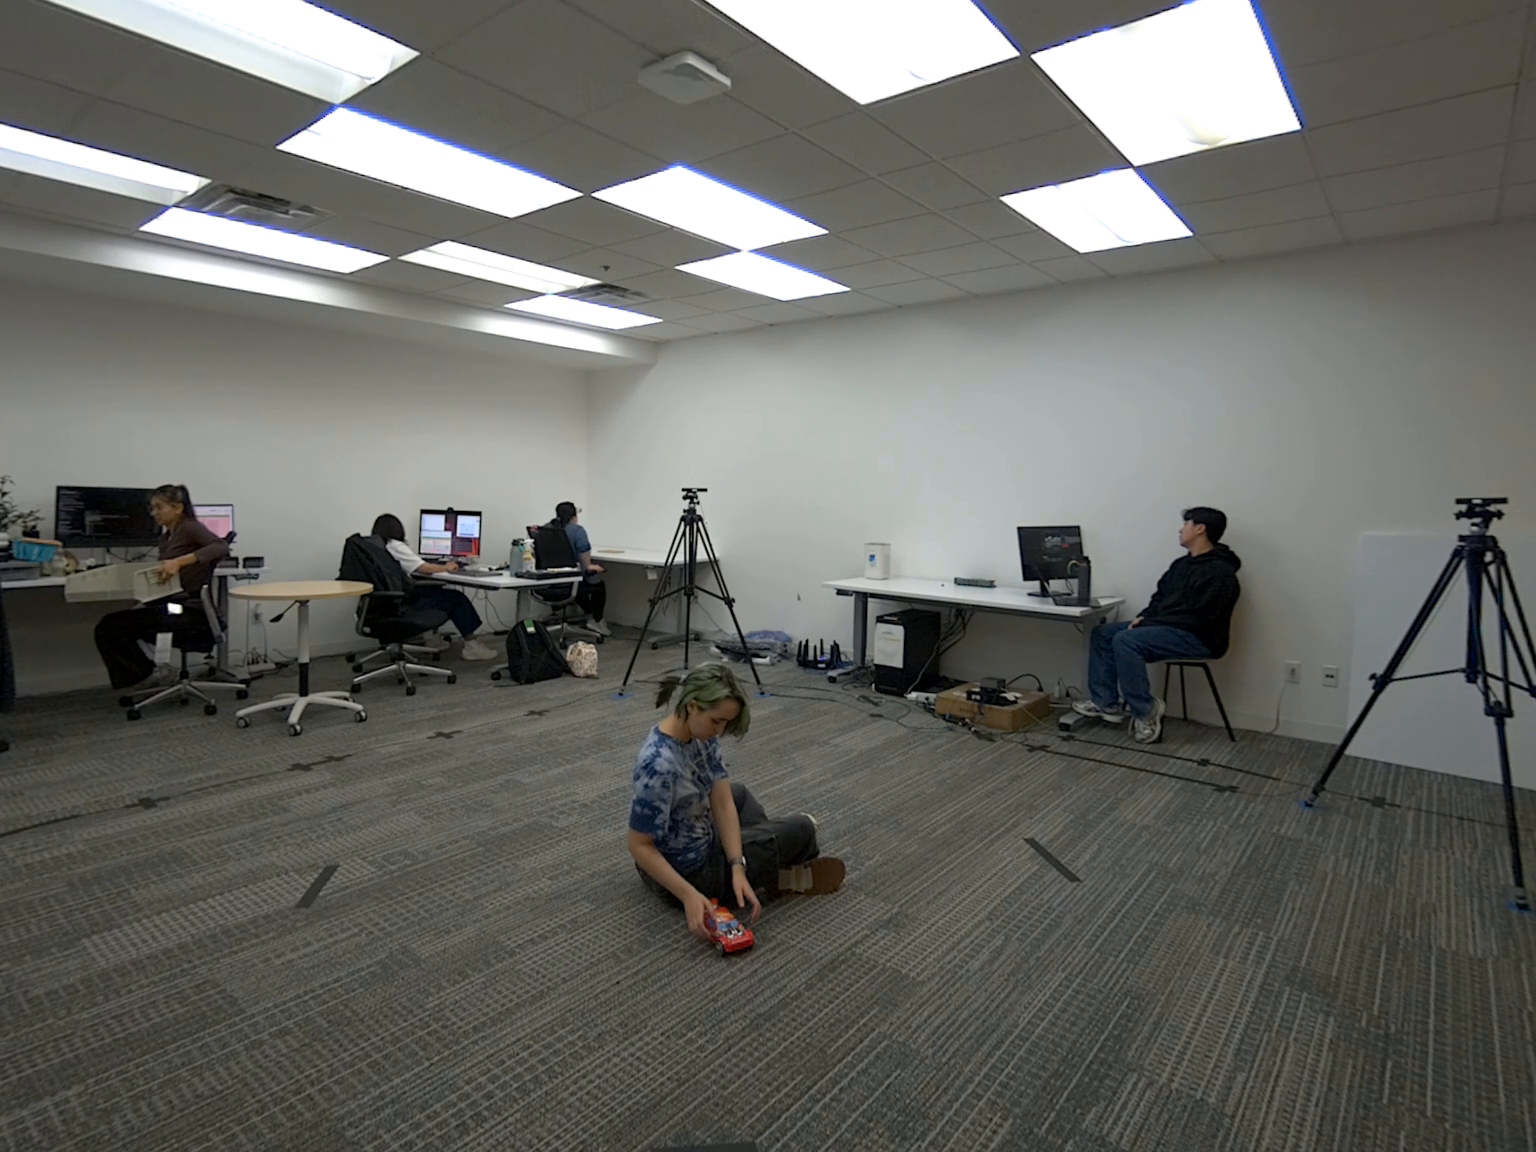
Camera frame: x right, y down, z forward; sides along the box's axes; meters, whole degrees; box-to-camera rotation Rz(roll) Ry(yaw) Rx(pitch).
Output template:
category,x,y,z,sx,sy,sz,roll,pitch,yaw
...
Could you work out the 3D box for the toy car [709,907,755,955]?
category,x,y,z,sx,sy,sz,roll,pitch,yaw
toy car,-0.159,1.084,2.636,0.127,0.082,0.264,-3,16,-31
